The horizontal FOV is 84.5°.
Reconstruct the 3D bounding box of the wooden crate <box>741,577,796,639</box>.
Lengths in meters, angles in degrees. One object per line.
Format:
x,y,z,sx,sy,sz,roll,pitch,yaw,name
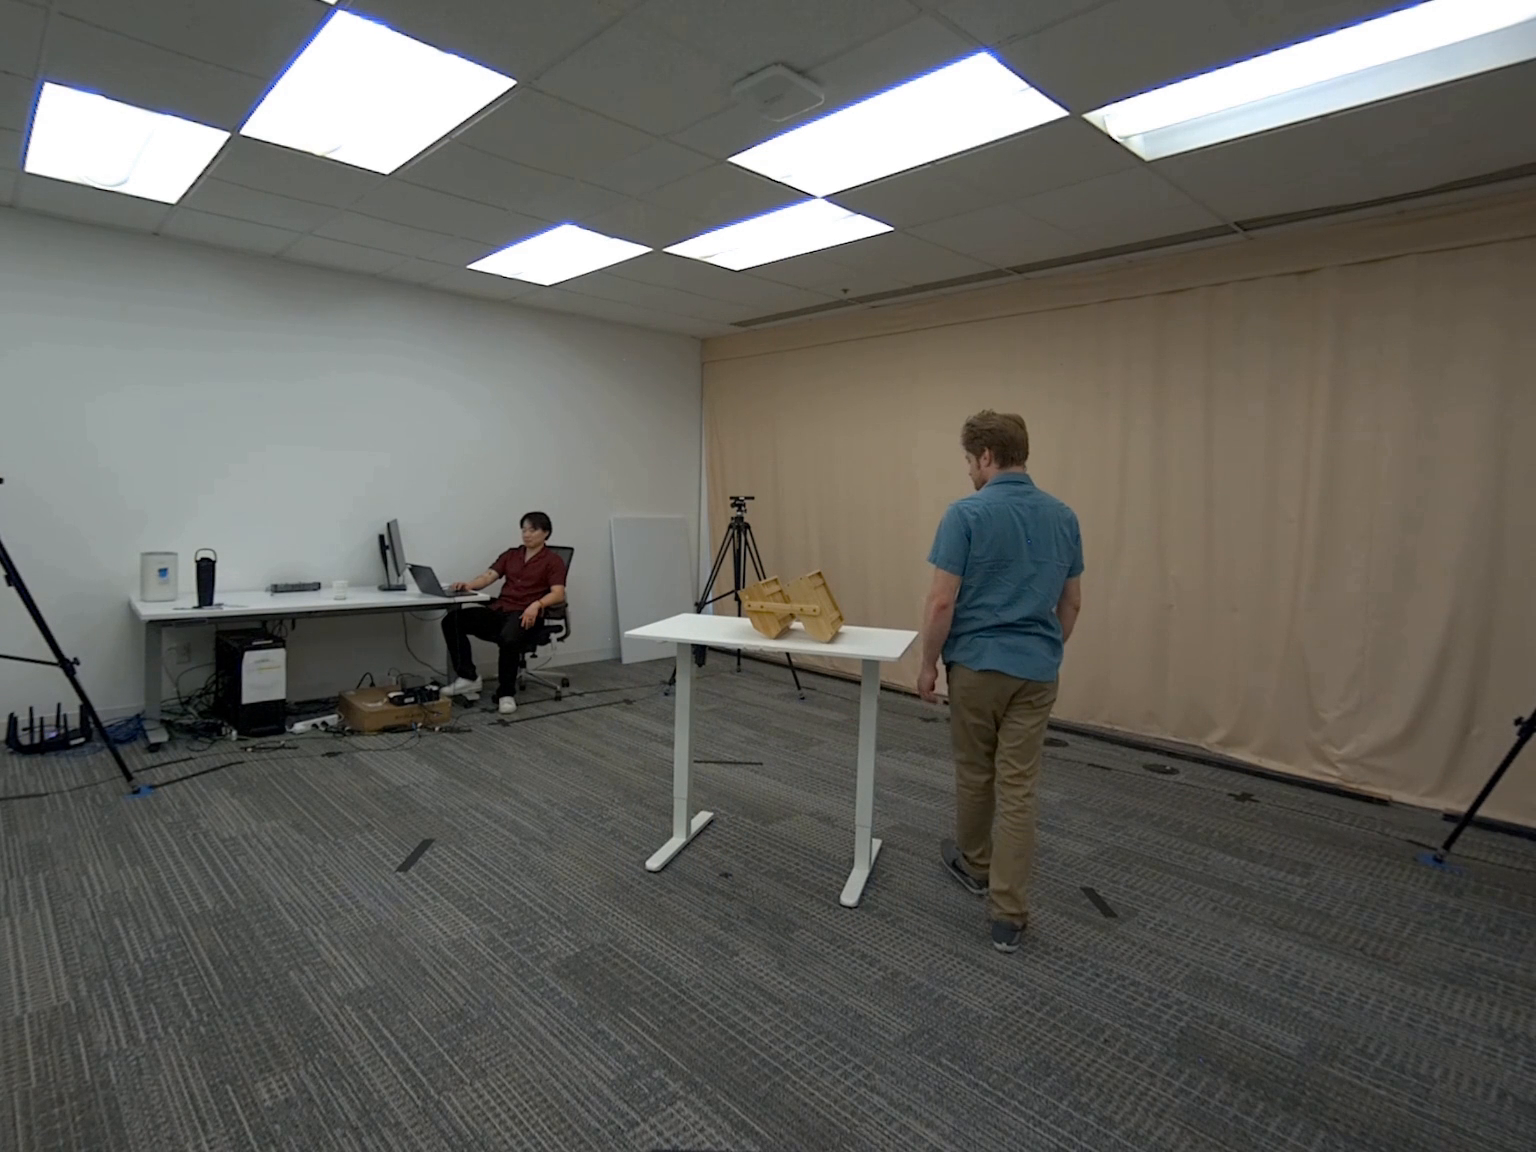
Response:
0.083,0.131,3.172,0.275,0.303,0.321,-25,-3,15,wooden crate
